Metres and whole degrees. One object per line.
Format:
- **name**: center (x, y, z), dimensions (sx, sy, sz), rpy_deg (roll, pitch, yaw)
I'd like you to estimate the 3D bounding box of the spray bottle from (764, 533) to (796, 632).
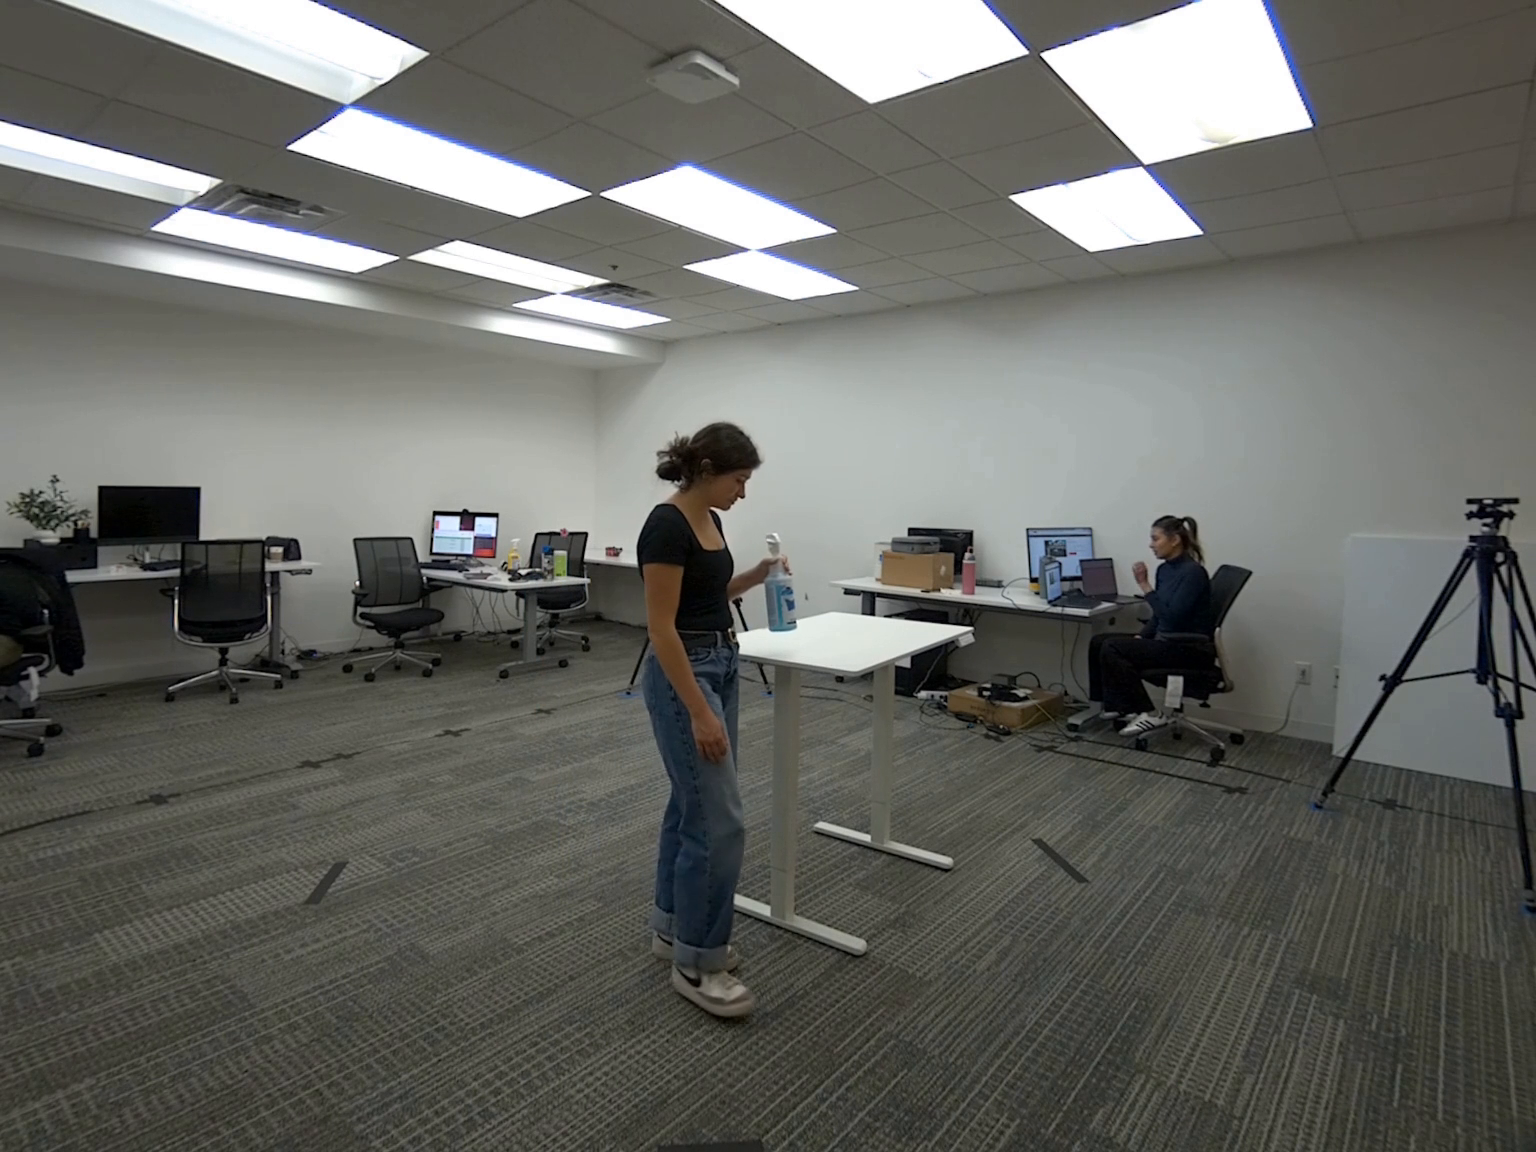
- **spray bottle**: center (0.022, 0.021, 2.565), dimensions (0.088, 0.298, 0.089), rpy_deg (-7, -1, 7)
